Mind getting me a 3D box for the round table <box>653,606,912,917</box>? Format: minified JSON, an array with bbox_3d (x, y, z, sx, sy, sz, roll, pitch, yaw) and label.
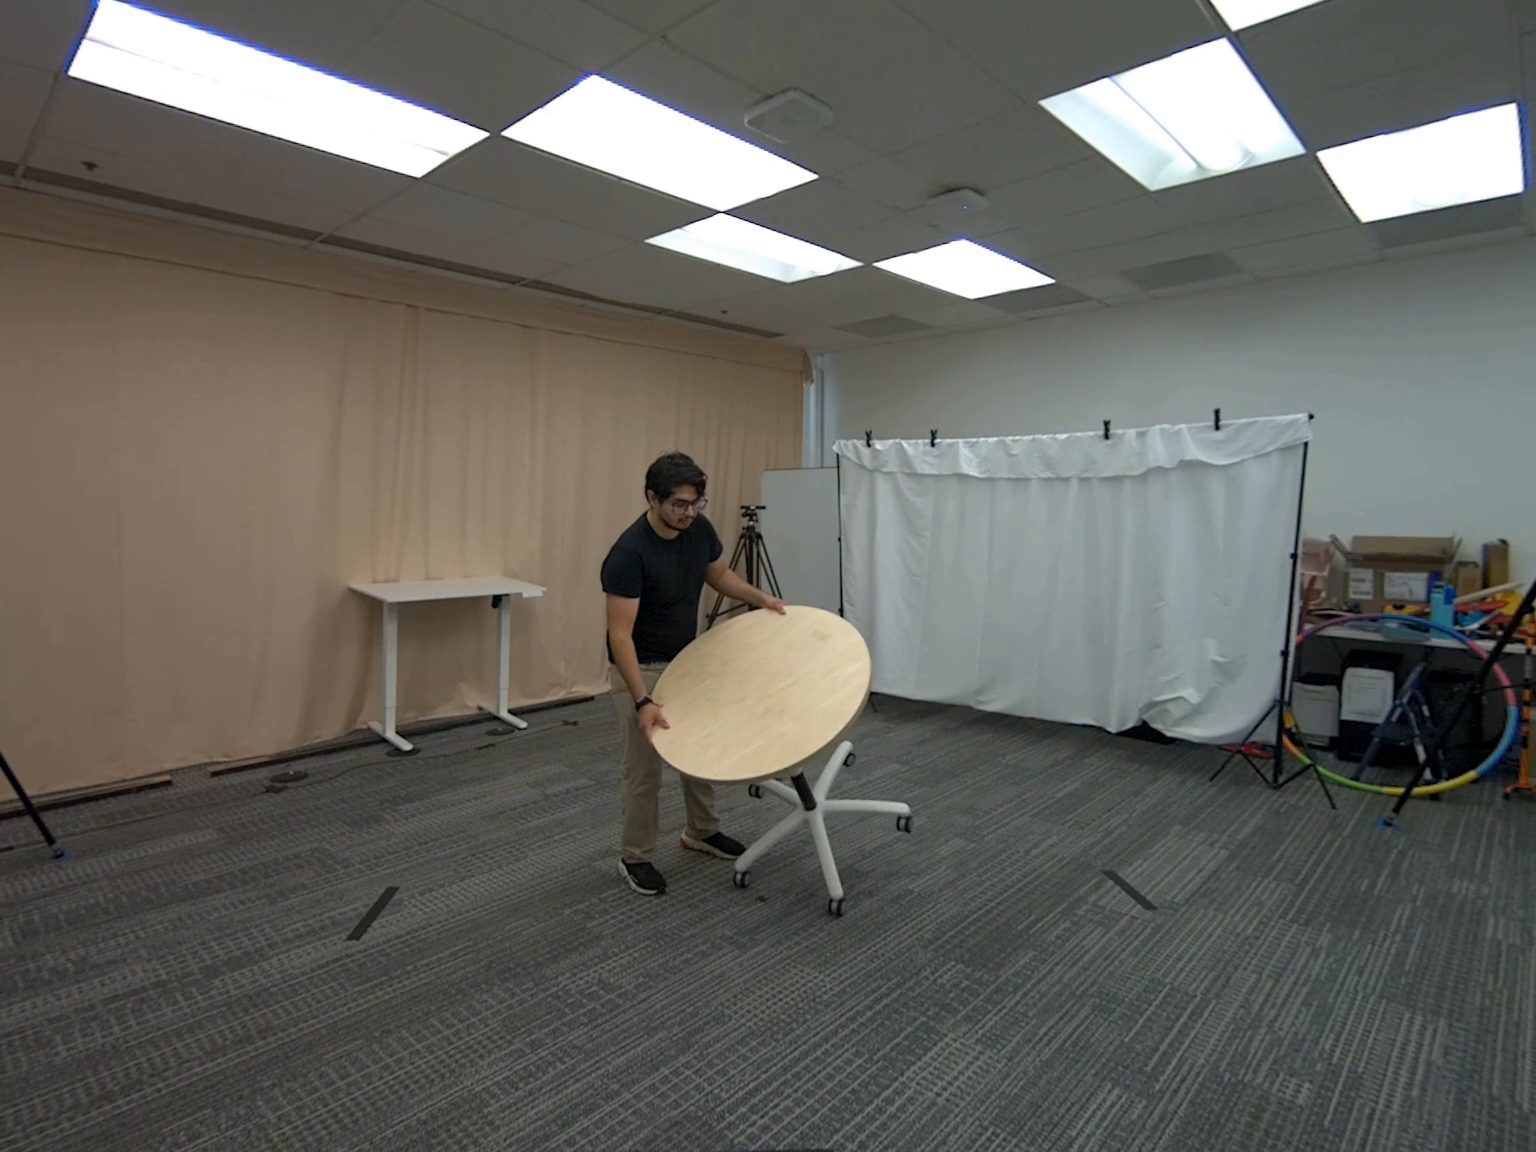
[{"bbox_3d":[0.095,0.651,2.968,0.792,0.765,0.800,-16,35,10],"label":"round table"}]
